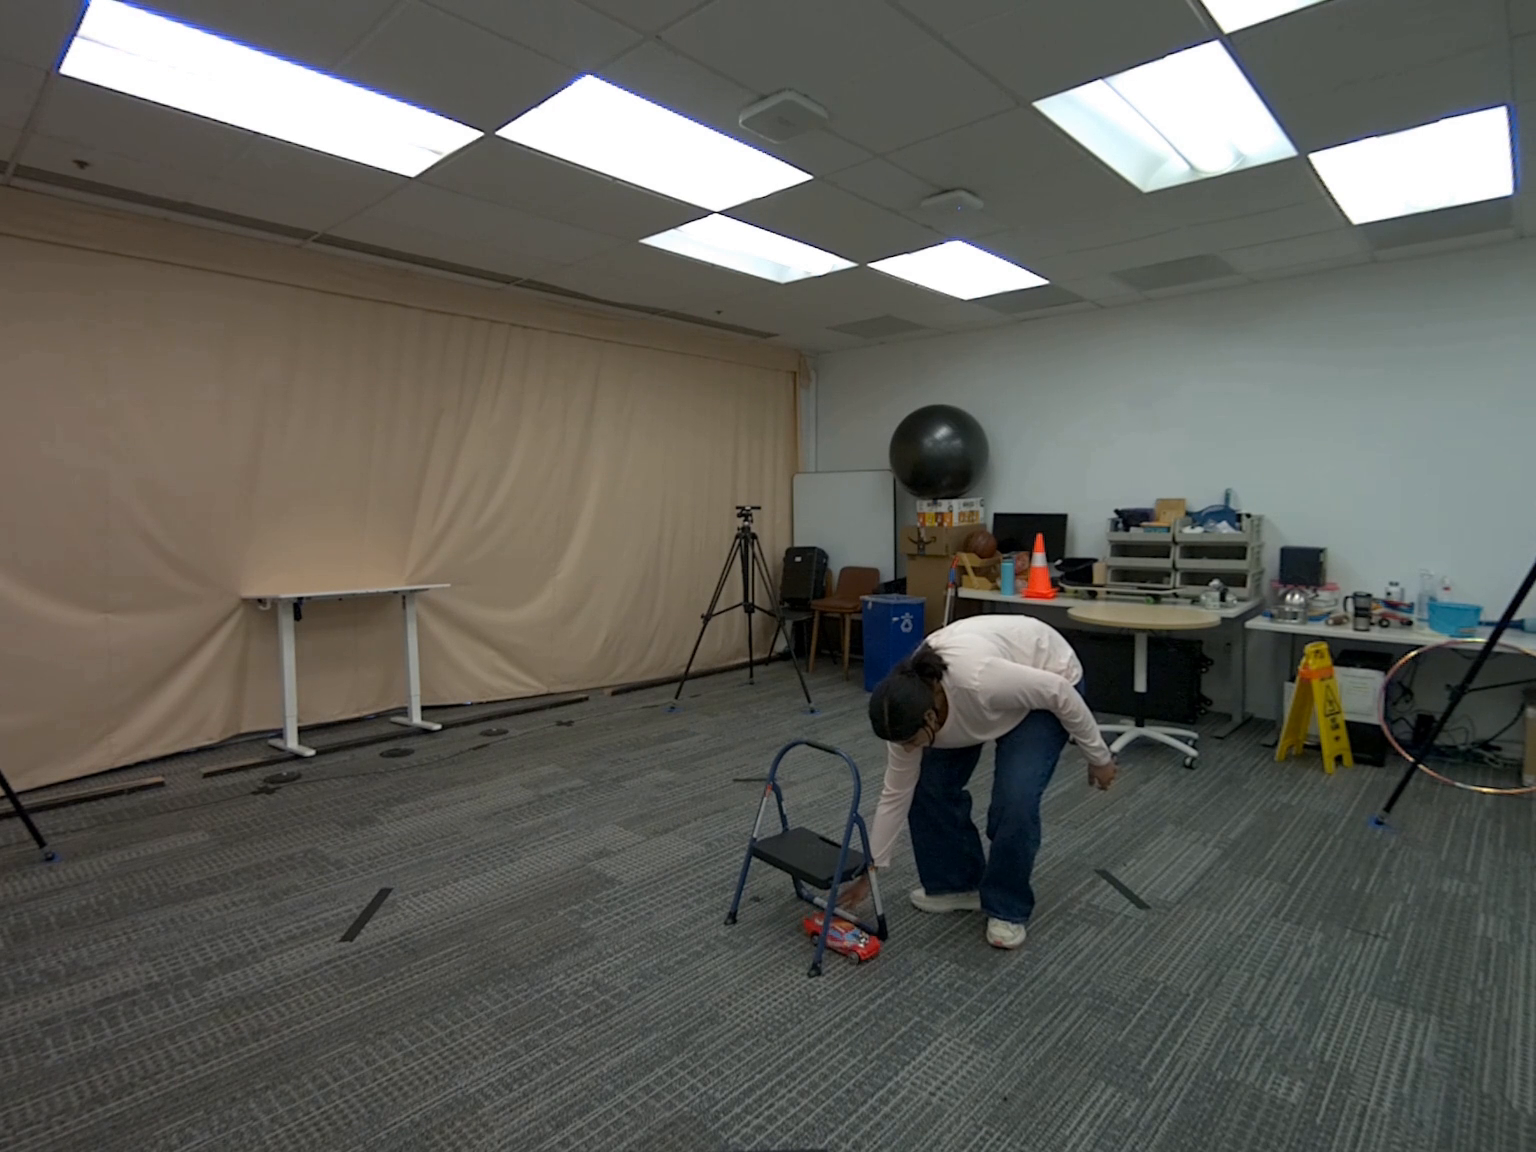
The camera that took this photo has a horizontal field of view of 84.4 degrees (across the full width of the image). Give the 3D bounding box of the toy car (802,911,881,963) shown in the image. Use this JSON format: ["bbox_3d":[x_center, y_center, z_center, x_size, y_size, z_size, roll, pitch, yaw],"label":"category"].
[{"bbox_3d":[0.235,1.144,2.658,0.264,0.083,0.126,18,16,42],"label":"toy car"}]
